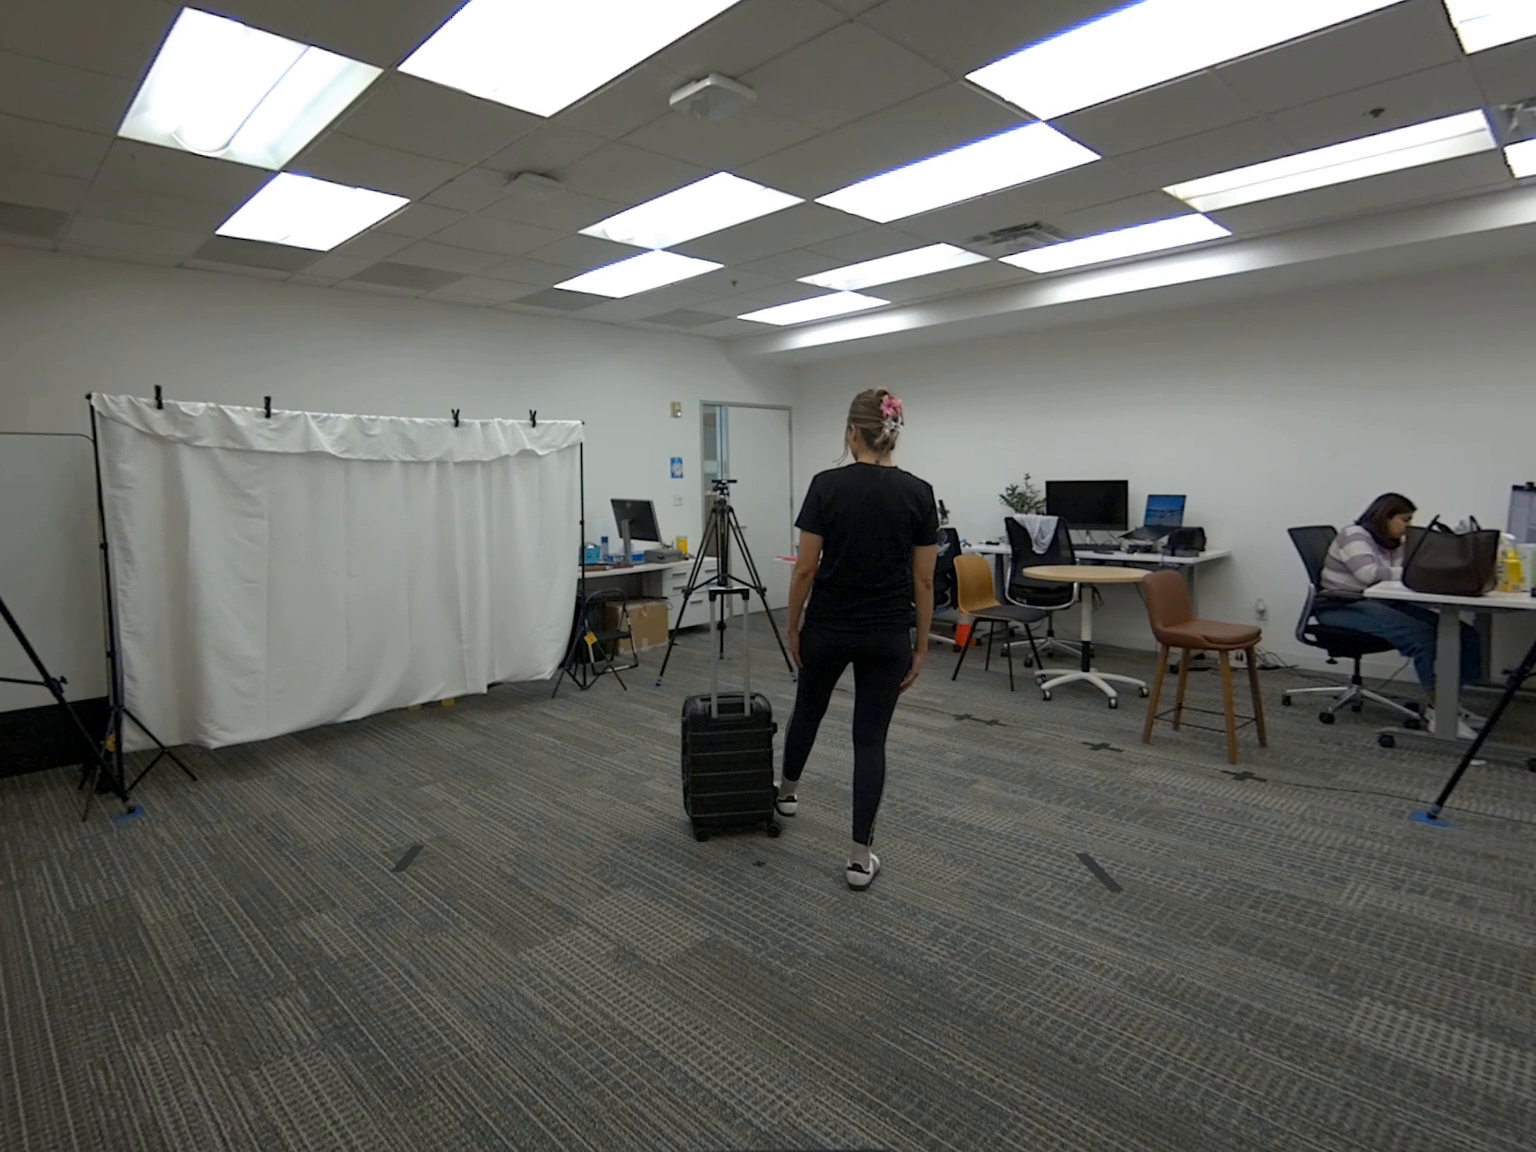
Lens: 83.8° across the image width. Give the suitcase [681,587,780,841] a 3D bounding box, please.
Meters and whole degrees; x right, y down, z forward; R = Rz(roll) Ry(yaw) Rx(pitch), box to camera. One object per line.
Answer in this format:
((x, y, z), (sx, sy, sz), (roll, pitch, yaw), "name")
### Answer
((-0.167, 0.535, 3.416), (0.381, 0.976, 0.260), (-2, 3, -9), "suitcase")
